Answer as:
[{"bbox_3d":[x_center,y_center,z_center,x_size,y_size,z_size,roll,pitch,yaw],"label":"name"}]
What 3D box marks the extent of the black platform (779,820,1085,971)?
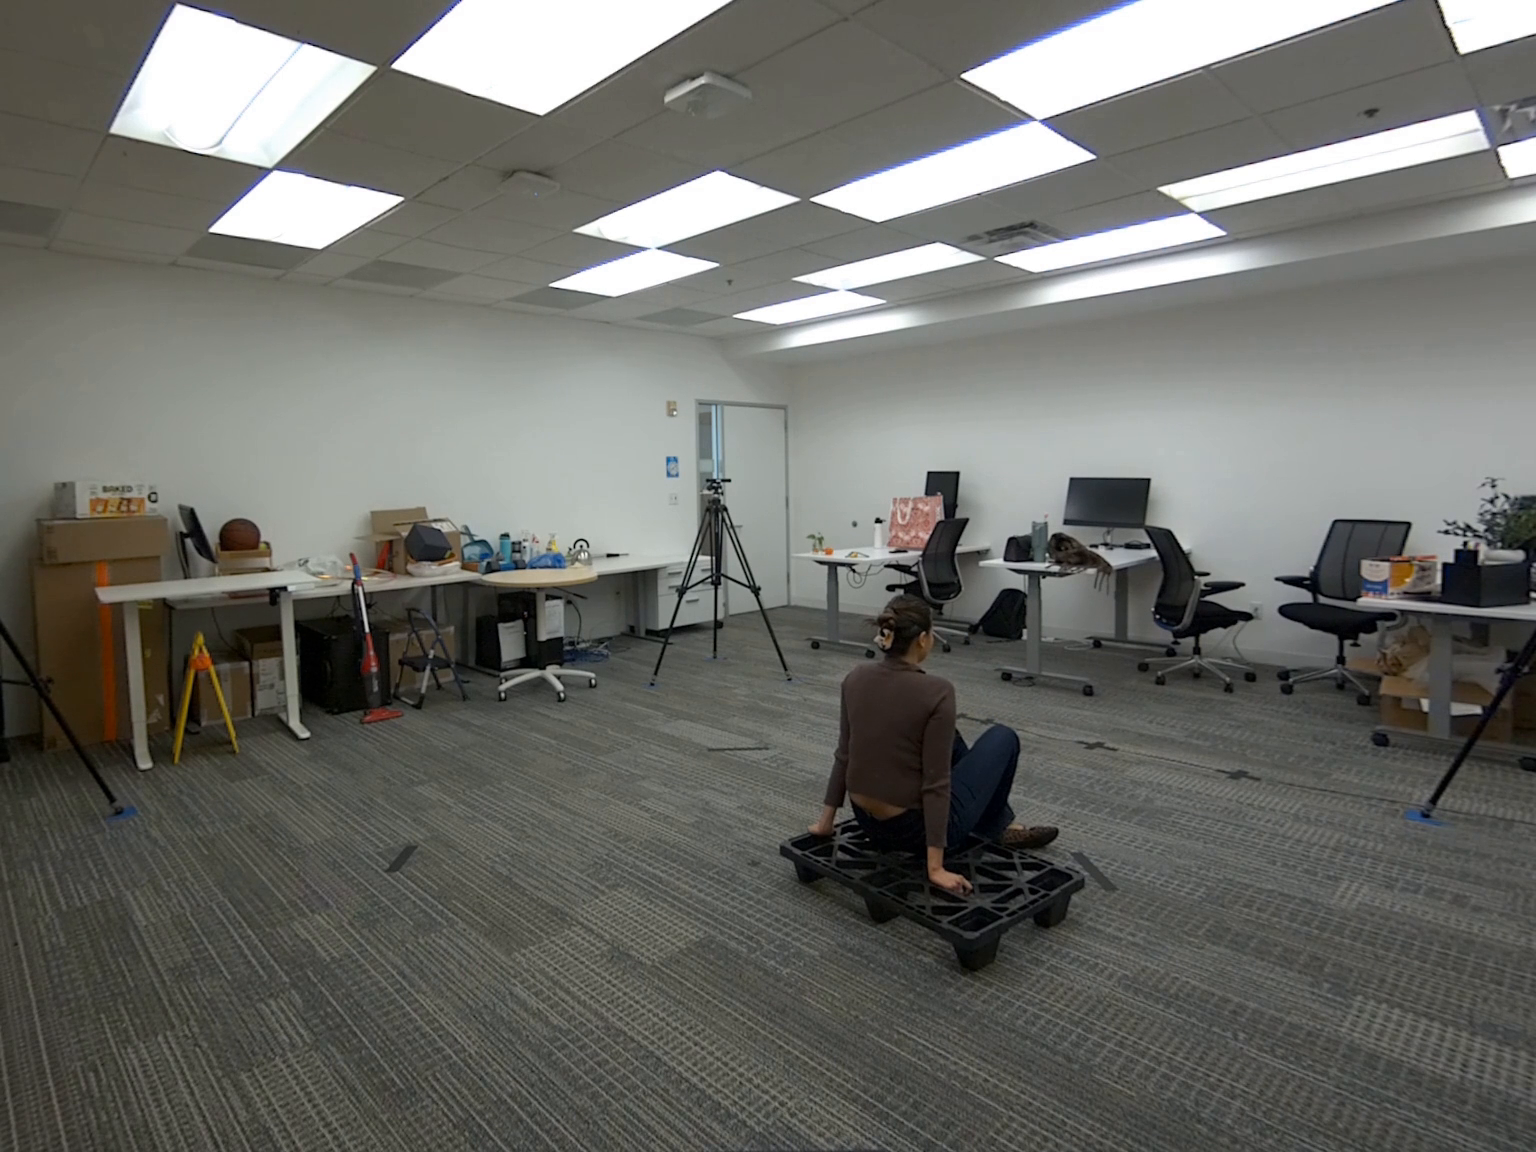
[{"bbox_3d":[0.519,1.003,2.818,0.590,0.143,0.830,-6,8,-38],"label":"black platform"}]
